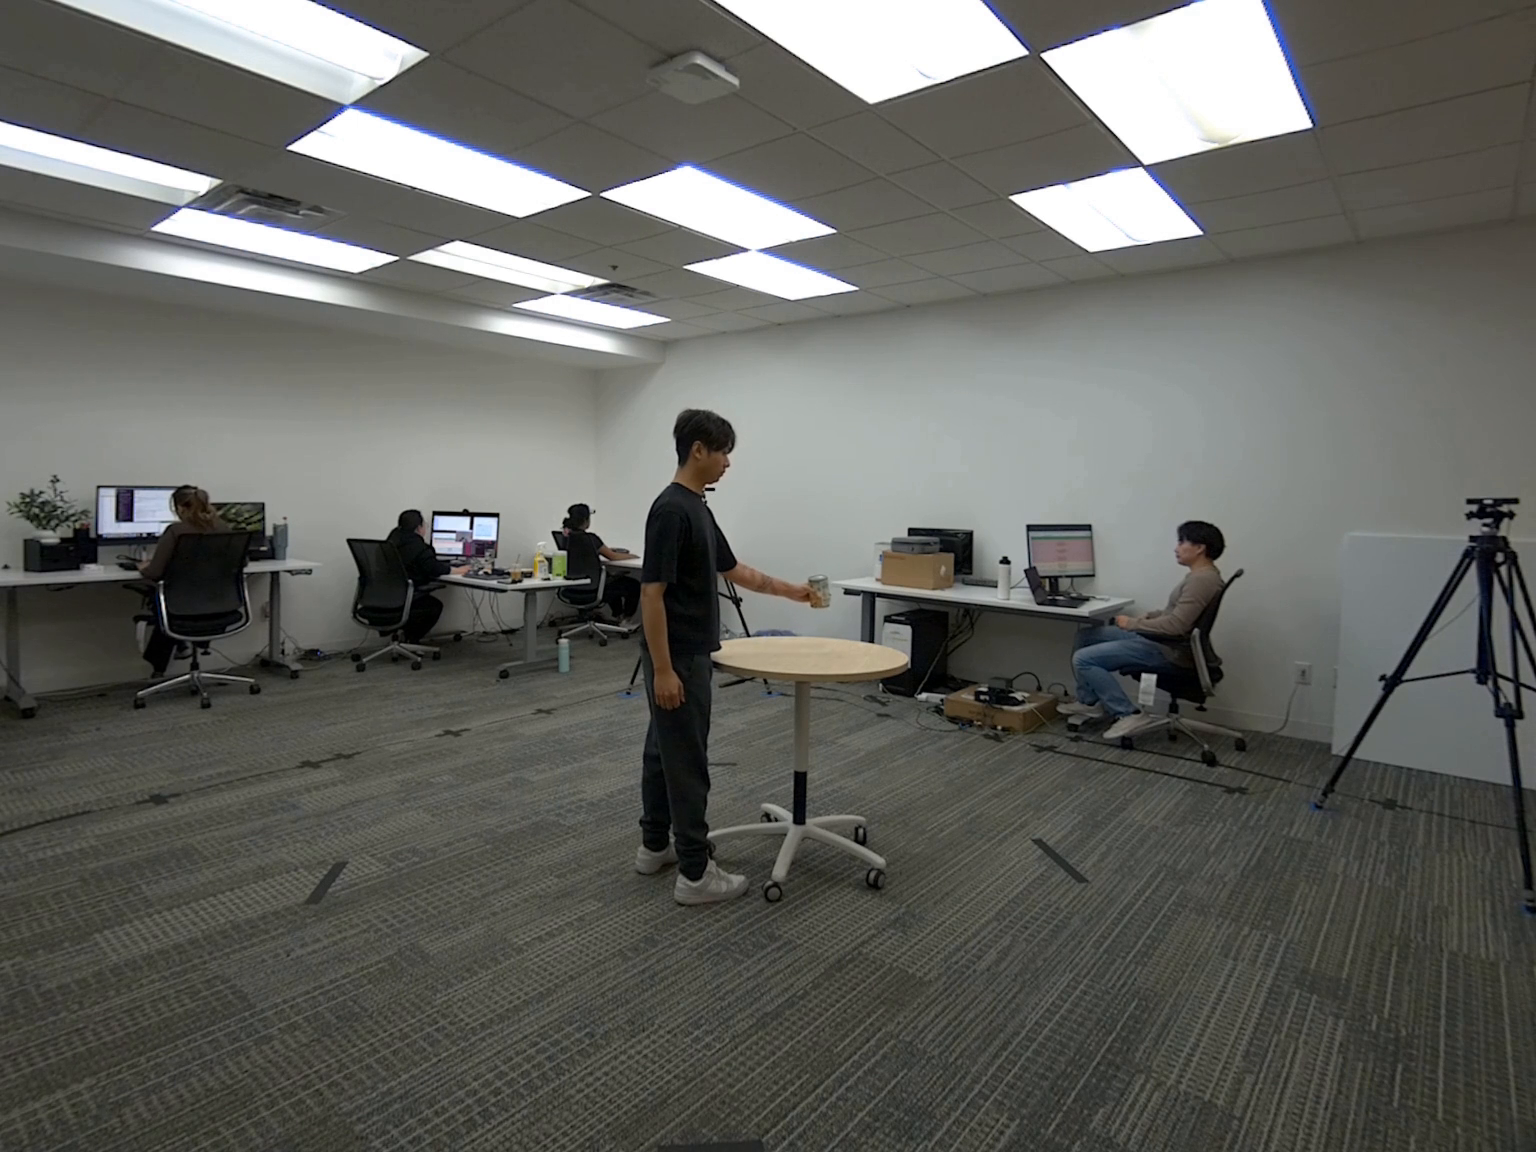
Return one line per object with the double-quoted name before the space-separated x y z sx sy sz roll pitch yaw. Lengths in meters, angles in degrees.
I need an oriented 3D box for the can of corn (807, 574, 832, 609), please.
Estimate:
"can of corn" 0.177 0.061 3.253 0.074 0.110 0.075 -6 10 -1
